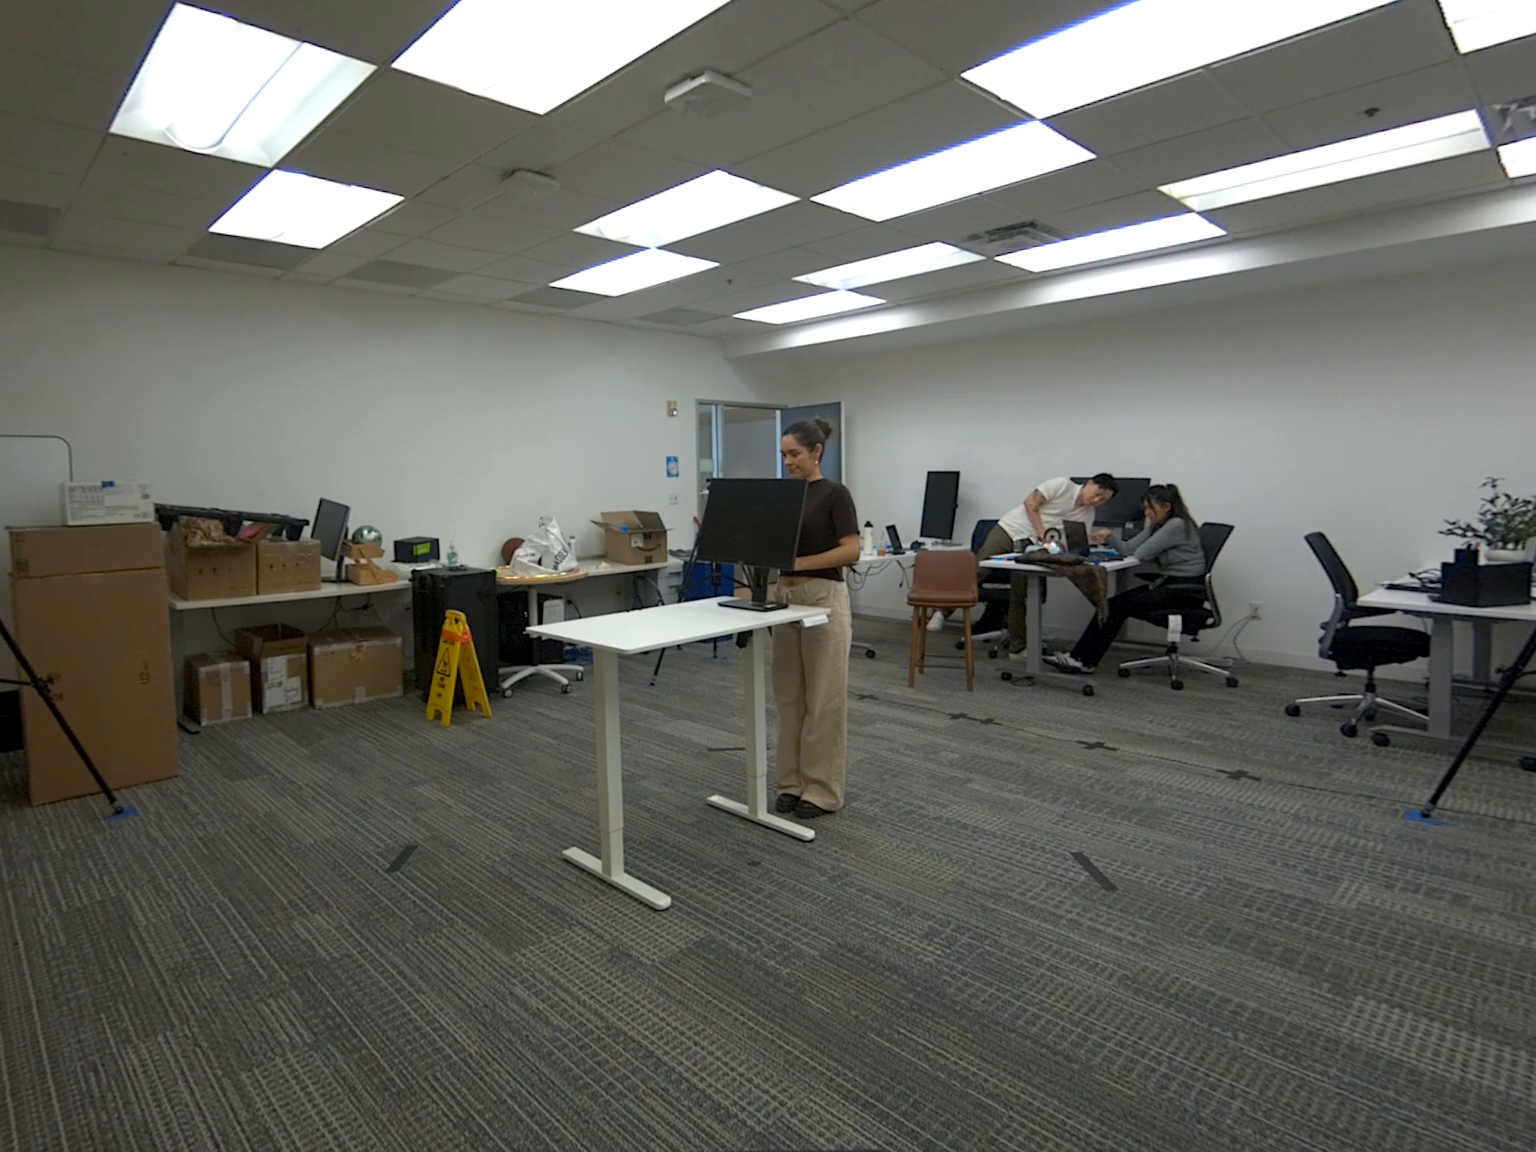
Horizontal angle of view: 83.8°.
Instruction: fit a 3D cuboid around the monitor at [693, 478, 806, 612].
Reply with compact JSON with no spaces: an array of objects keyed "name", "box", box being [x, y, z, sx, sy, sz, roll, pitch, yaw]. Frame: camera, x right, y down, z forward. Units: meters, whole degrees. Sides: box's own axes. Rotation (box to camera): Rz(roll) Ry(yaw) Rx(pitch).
[{"name":"monitor","box":[-0.059,-0.134,3.420,0.547,0.512,0.170,6,10,43]}]
